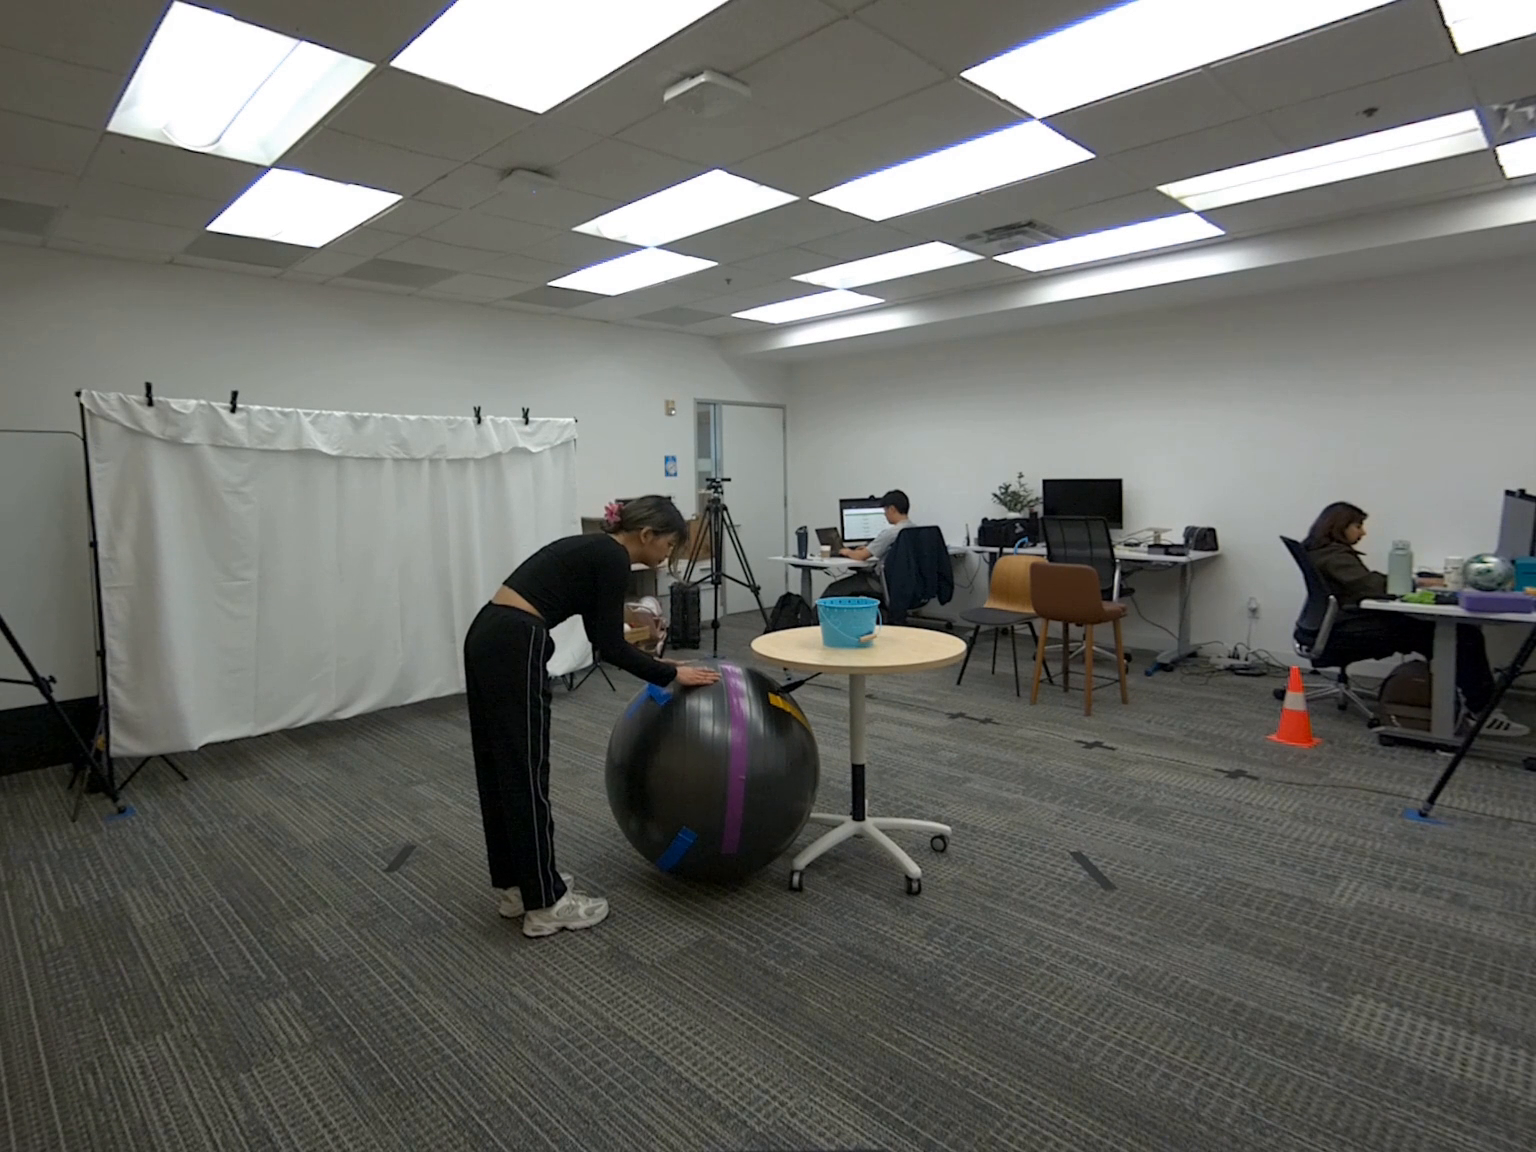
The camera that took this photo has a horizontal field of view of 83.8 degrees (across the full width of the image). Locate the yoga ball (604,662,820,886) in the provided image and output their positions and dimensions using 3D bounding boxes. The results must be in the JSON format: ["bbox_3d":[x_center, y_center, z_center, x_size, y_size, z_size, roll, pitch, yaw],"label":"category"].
[{"bbox_3d":[-0.205,0.687,3.036,0.757,0.755,0.762,-1,5,-2],"label":"yoga ball"}]
